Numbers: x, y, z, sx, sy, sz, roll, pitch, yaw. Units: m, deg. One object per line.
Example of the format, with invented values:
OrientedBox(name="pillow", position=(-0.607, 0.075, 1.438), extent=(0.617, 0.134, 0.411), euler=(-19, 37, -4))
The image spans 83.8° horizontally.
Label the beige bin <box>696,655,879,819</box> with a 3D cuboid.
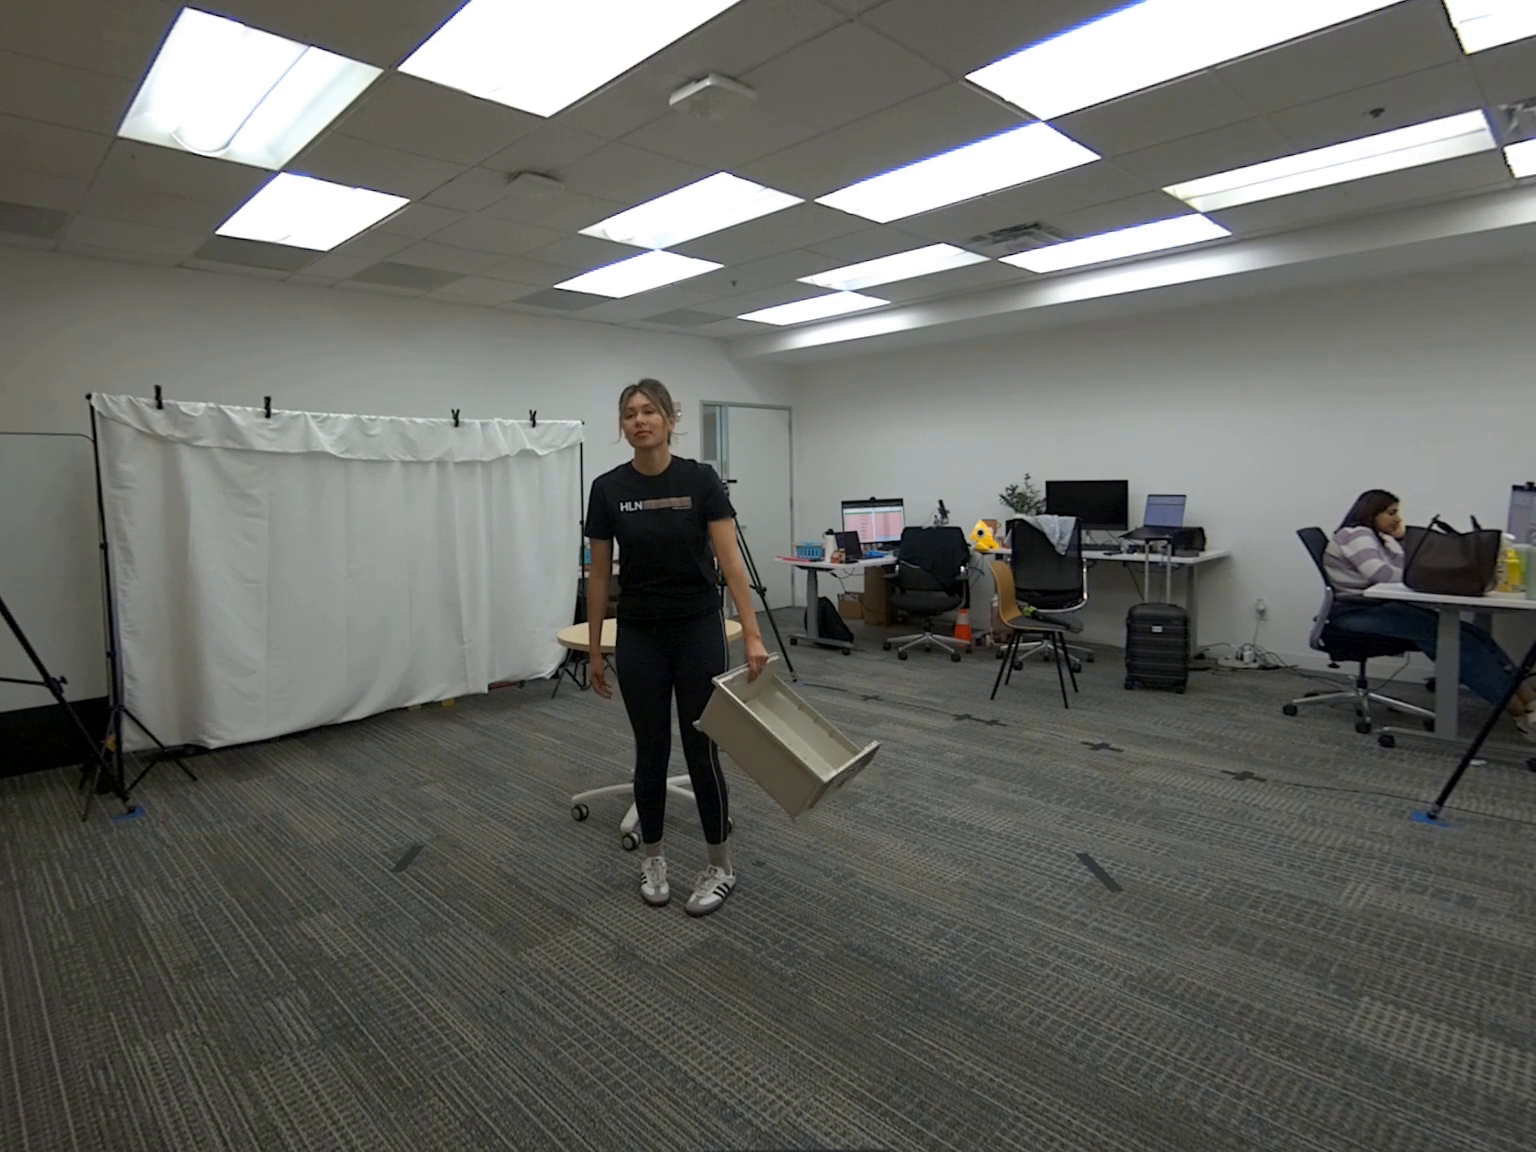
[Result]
OrientedBox(name="beige bin", position=(0.063, 0.456, 2.499), extent=(0.435, 0.187, 0.370), euler=(38, 29, 24))
